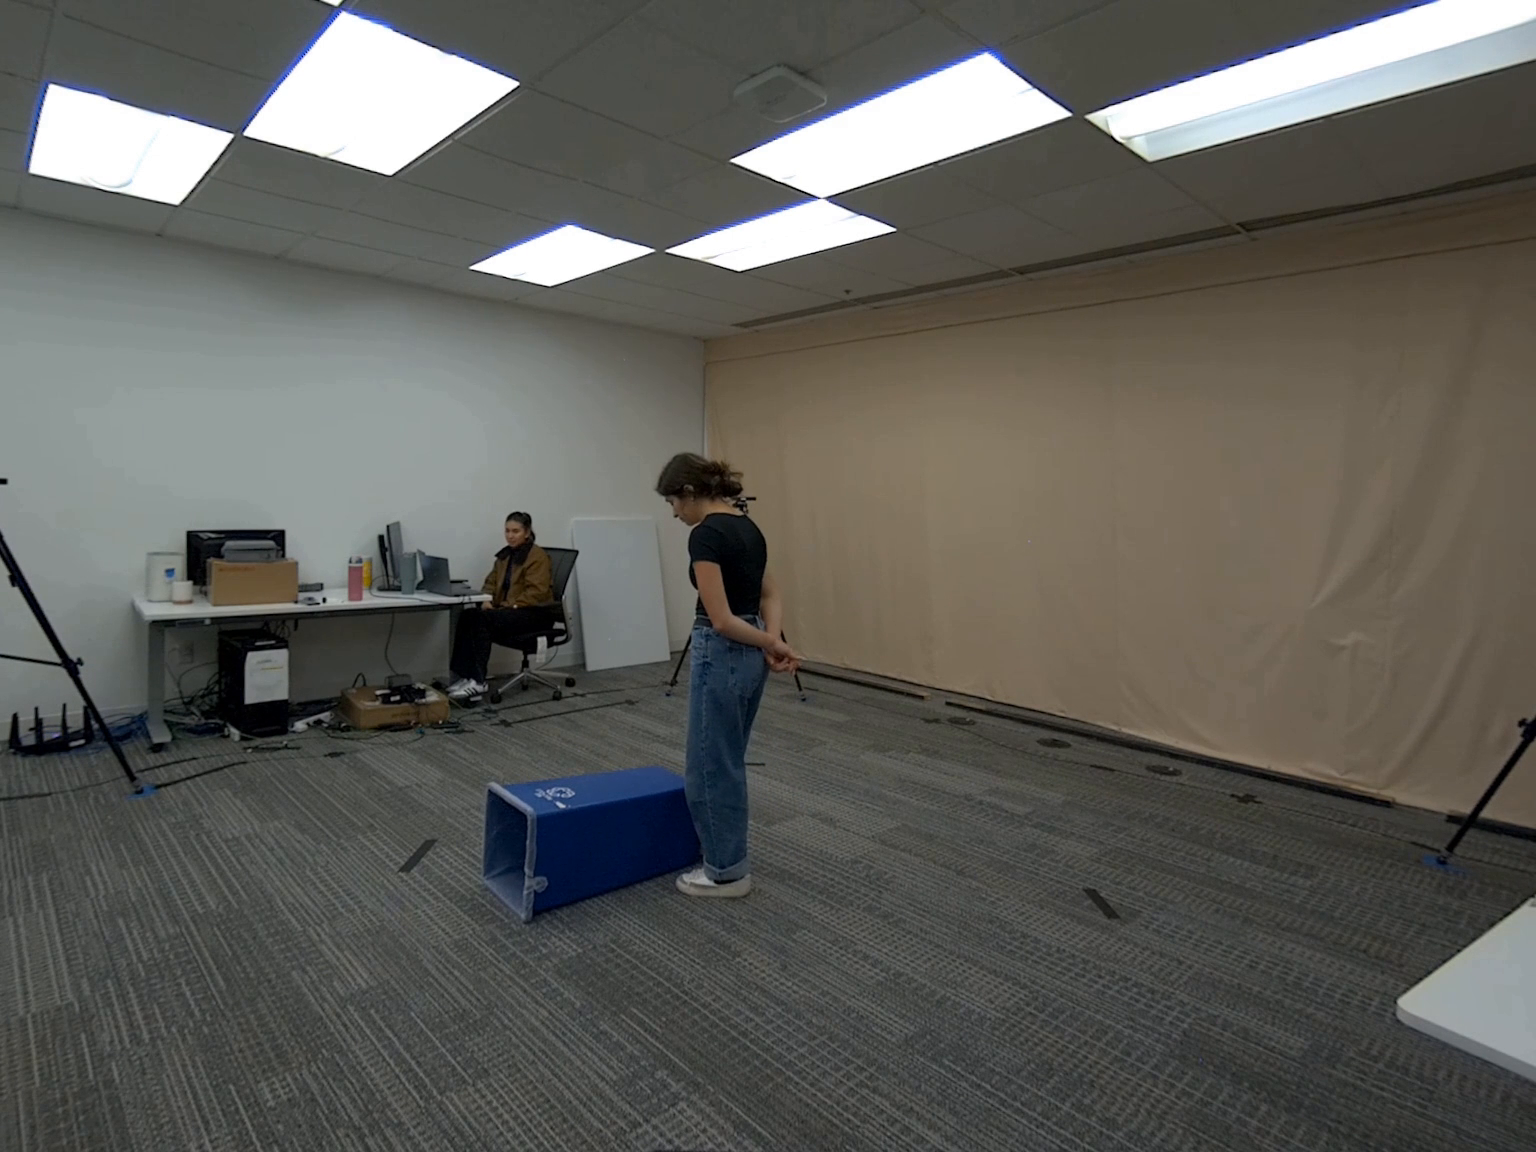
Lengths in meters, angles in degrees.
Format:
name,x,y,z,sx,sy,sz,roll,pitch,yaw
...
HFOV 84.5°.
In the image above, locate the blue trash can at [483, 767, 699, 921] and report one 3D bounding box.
name,x,y,z,sx,sy,sz,roll,pitch,yaw
blue trash can,-0.639,0.933,3.074,0.696,0.377,0.384,1,3,-41
